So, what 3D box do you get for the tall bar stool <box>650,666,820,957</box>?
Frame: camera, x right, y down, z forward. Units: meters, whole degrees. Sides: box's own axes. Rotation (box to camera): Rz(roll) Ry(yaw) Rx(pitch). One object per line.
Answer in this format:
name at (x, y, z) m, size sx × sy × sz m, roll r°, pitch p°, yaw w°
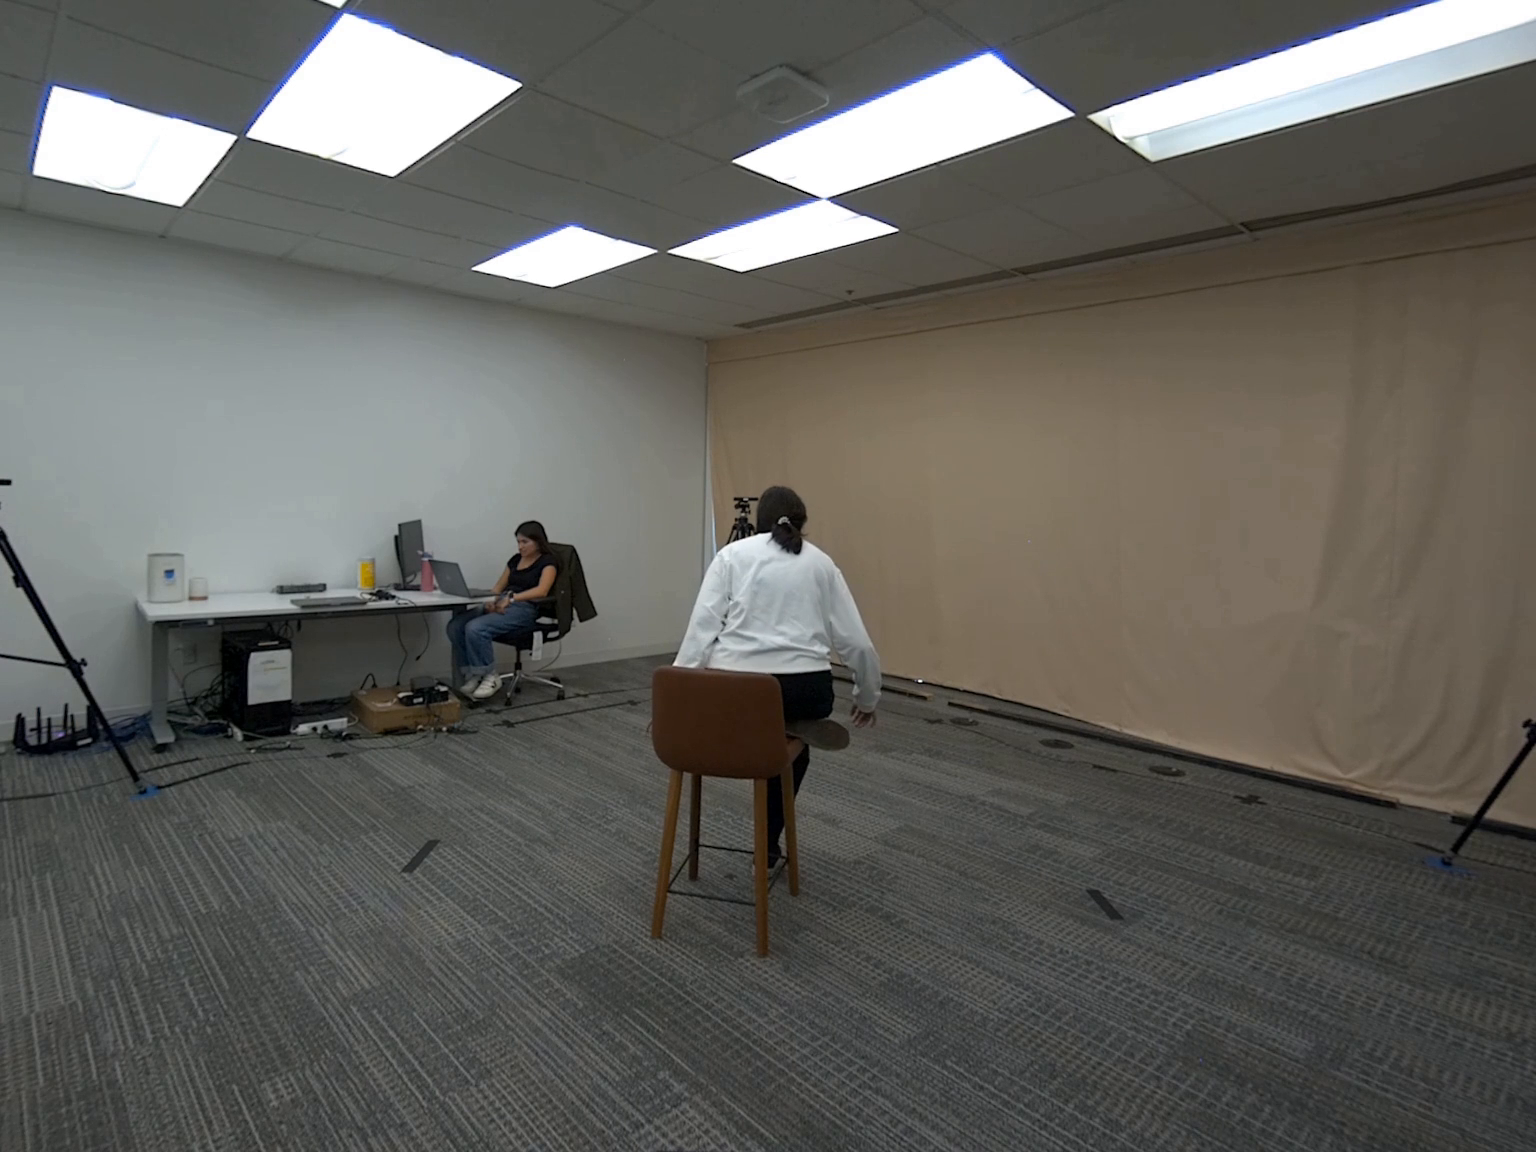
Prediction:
tall bar stool at (-0.141, 0.707, 2.785) m, size 0.462 × 0.886 × 0.463 m, roll 3°, pitch 5°, yaw 15°
